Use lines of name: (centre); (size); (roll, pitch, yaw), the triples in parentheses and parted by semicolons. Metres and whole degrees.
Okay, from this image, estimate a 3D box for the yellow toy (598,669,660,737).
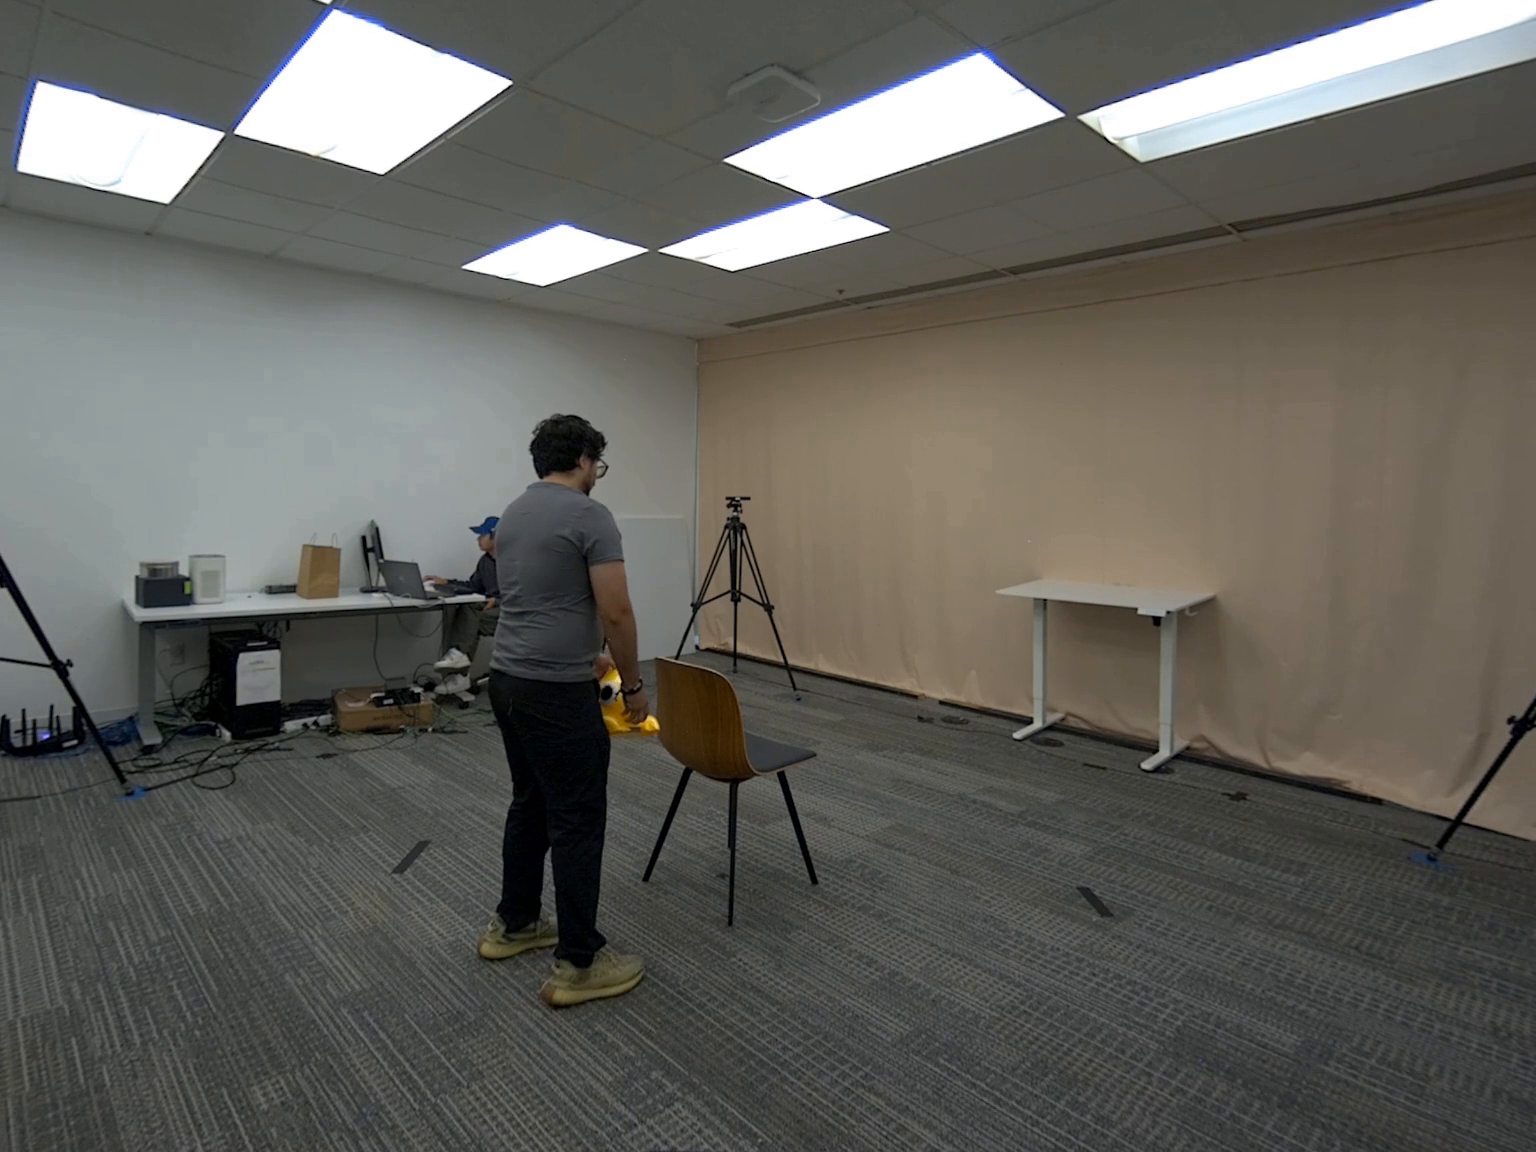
yellow toy: (-0.462, 0.390, 2.652); (0.199, 0.234, 0.195); (8, -24, -38)
